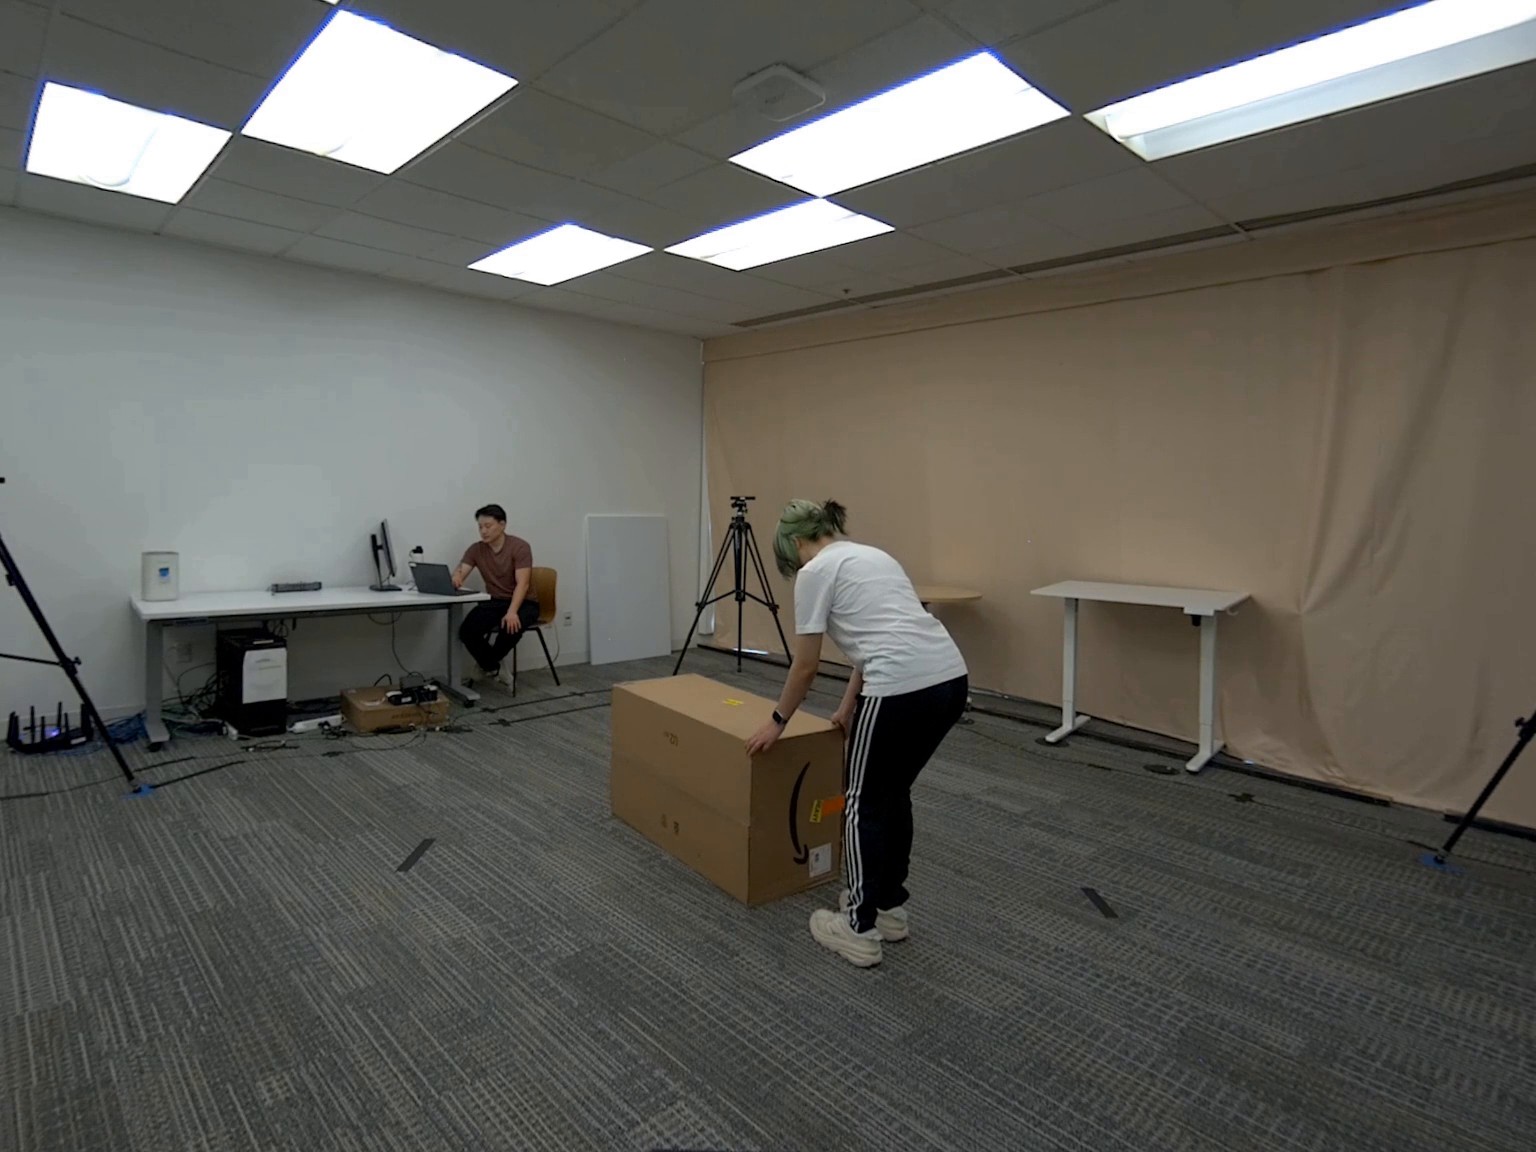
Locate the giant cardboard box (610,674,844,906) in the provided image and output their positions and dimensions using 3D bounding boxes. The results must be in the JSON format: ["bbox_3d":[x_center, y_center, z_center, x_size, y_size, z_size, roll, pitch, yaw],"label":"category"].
[{"bbox_3d":[-0.212,0.792,3.373,0.437,0.582,1.053,0,5,-37],"label":"giant cardboard box"}]
